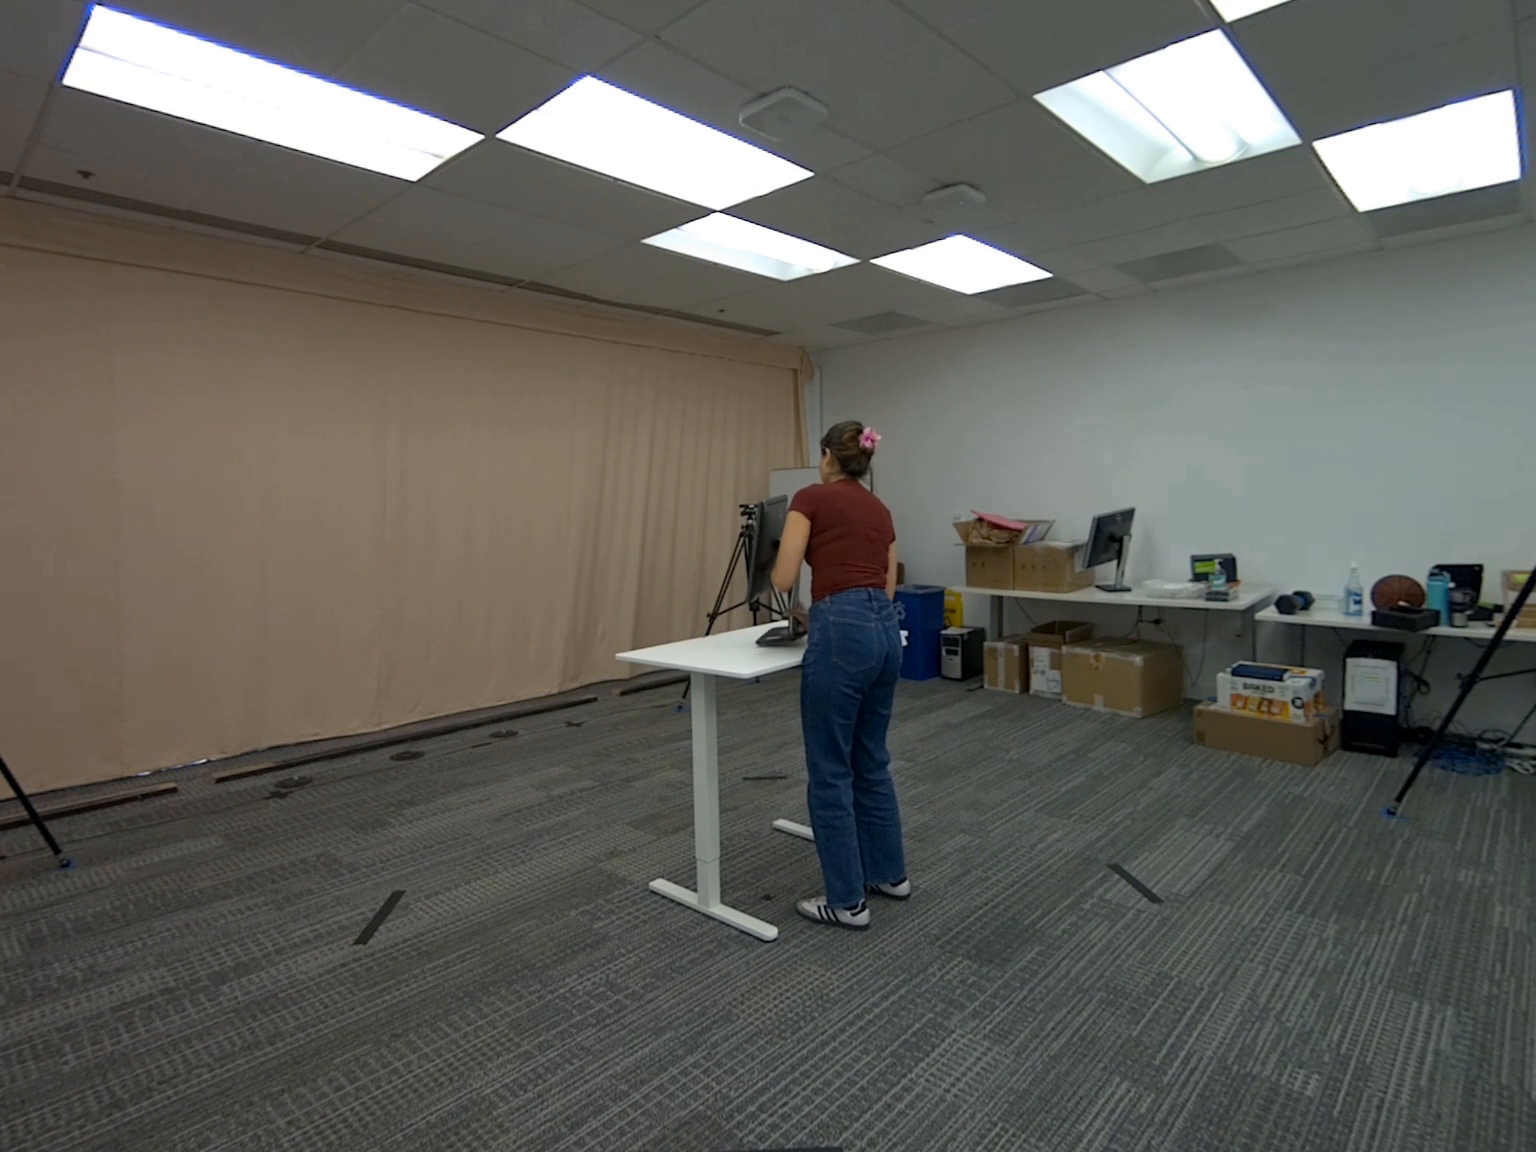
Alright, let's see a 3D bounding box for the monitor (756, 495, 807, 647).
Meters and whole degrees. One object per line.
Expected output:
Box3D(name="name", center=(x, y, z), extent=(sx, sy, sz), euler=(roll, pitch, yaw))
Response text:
Box3D(name="monitor", center=(0.044, -0.031, 3.100), extent=(0.189, 0.520, 0.535), euler=(-5, 6, 10))
